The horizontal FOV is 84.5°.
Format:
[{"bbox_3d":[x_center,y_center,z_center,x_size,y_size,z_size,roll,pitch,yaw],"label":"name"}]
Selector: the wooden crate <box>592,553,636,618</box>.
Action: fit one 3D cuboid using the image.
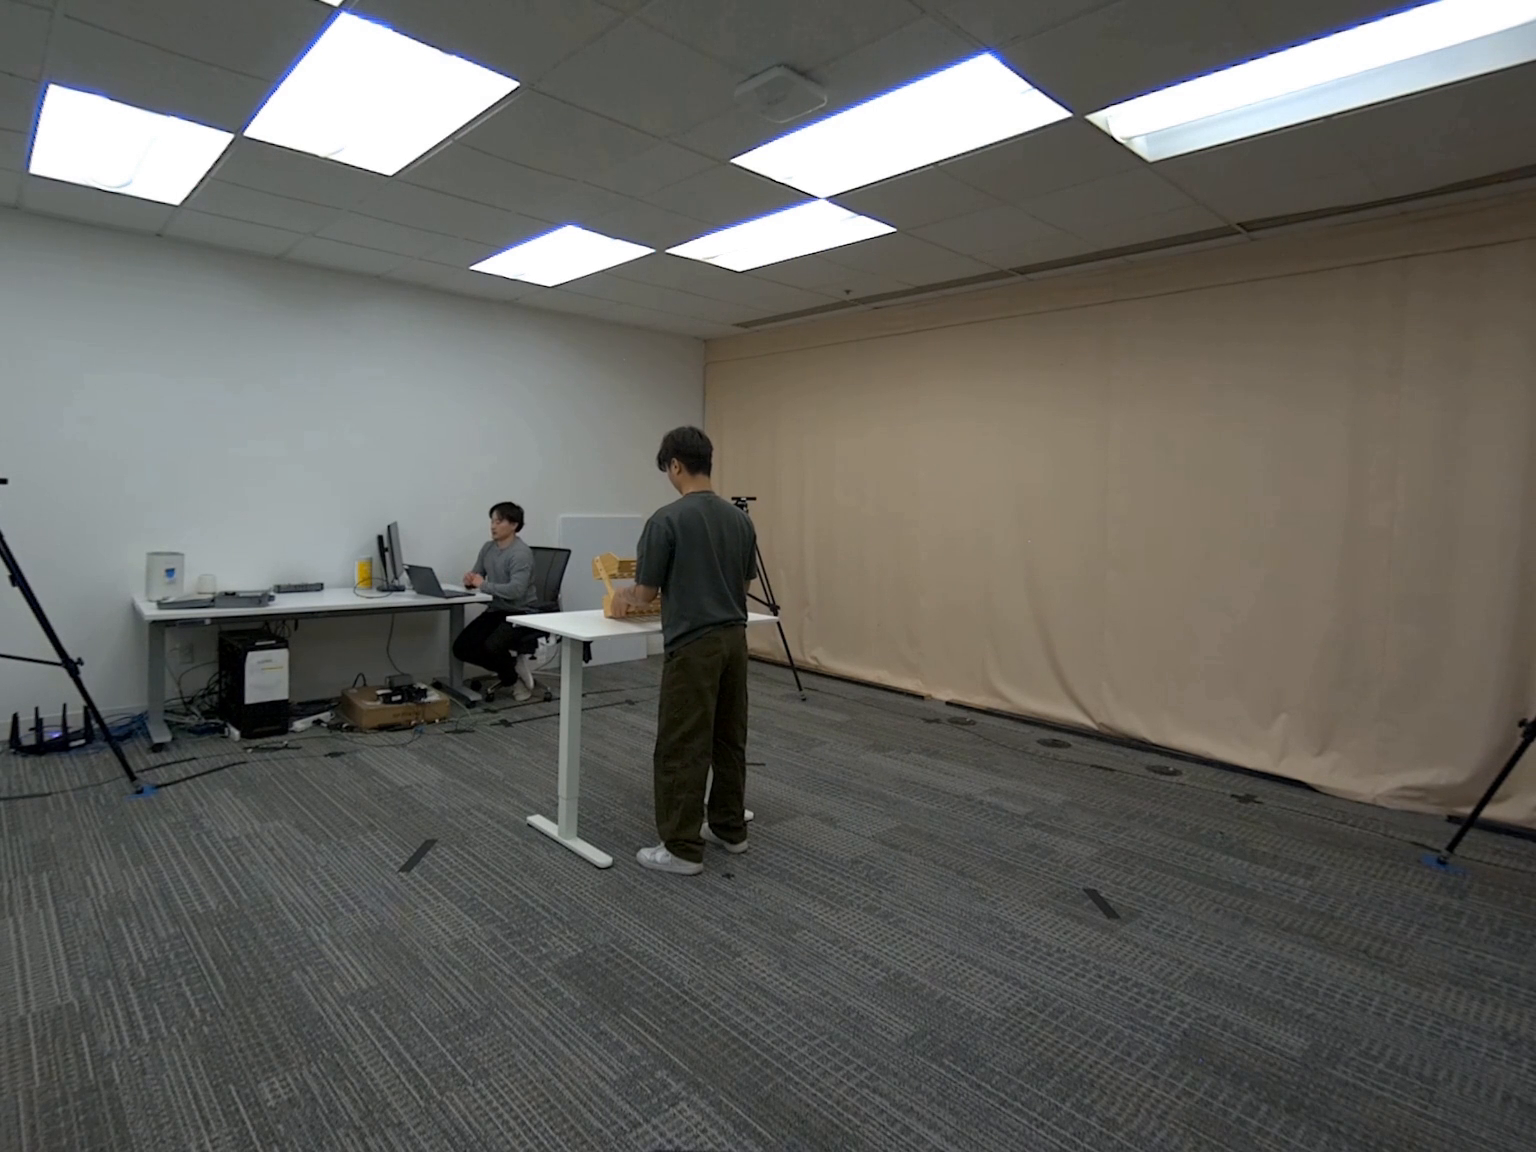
[{"bbox_3d":[-0.539,0.024,3.566,0.317,0.275,0.307,-2,-8,-42],"label":"wooden crate"}]
